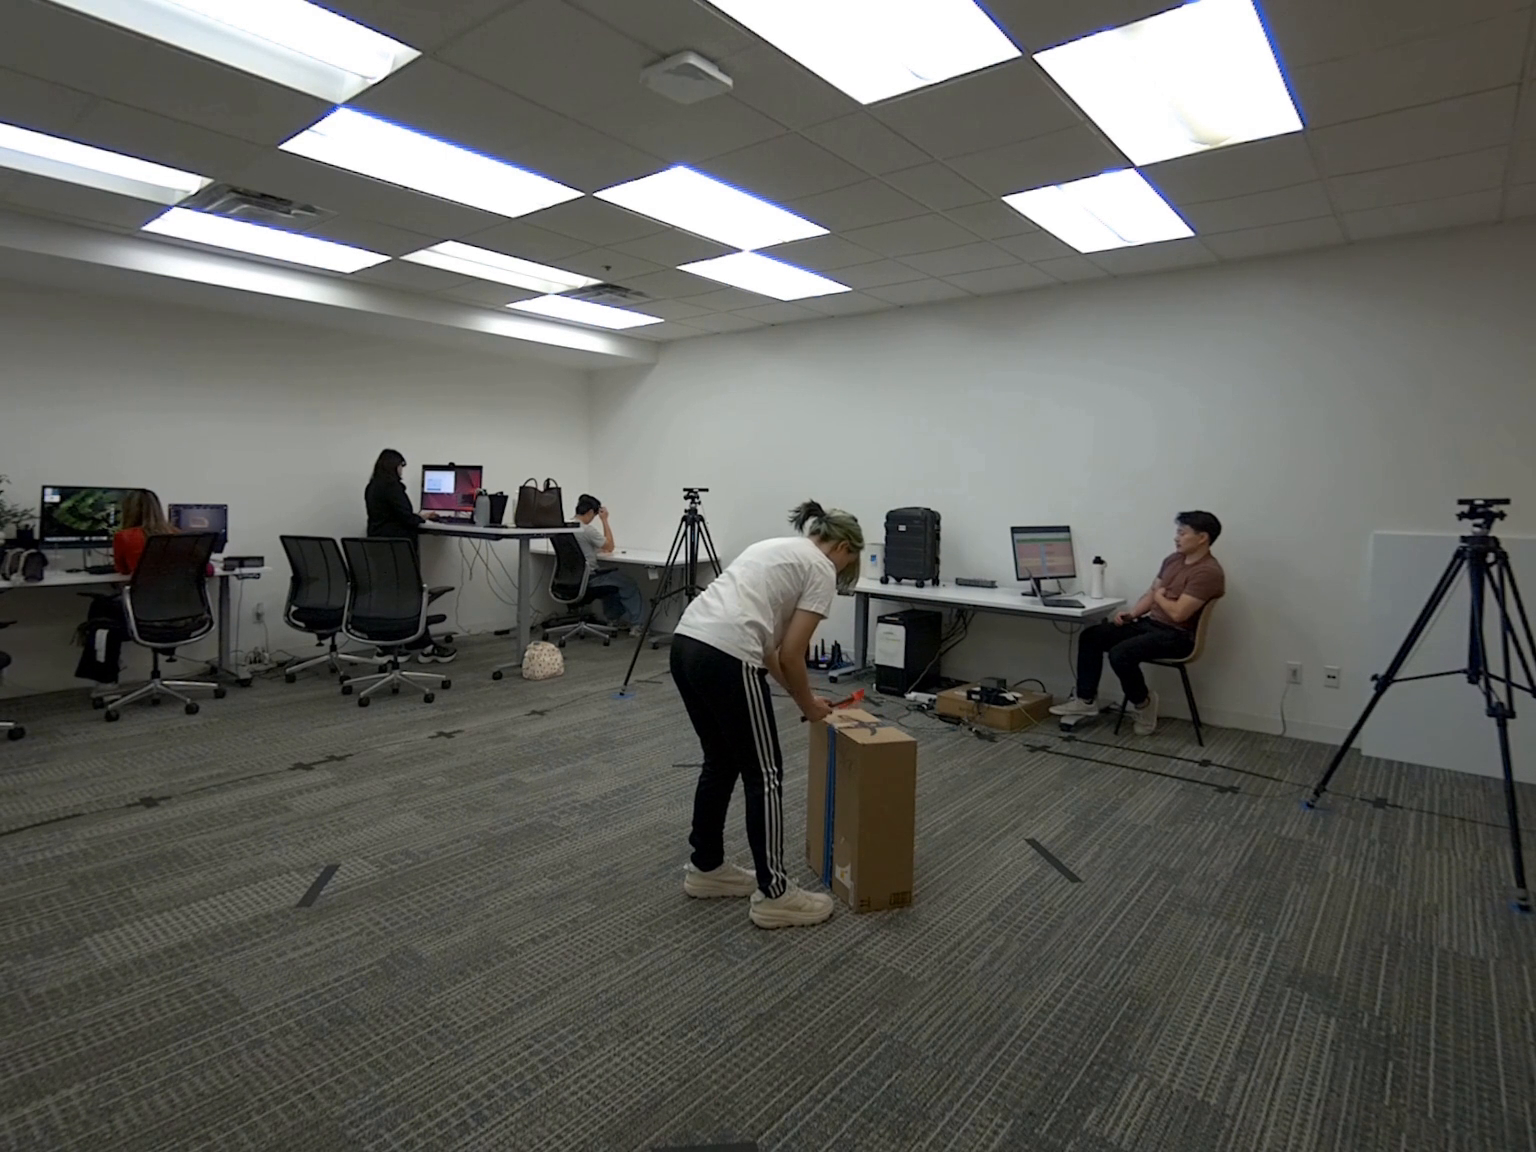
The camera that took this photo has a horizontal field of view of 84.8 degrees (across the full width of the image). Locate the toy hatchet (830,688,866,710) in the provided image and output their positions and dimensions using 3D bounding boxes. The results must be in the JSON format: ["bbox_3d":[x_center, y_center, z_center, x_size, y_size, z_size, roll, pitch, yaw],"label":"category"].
[{"bbox_3d":[0.229,0.474,3.051,0.268,0.030,0.128,-23,-24,-15],"label":"toy hatchet"}]
